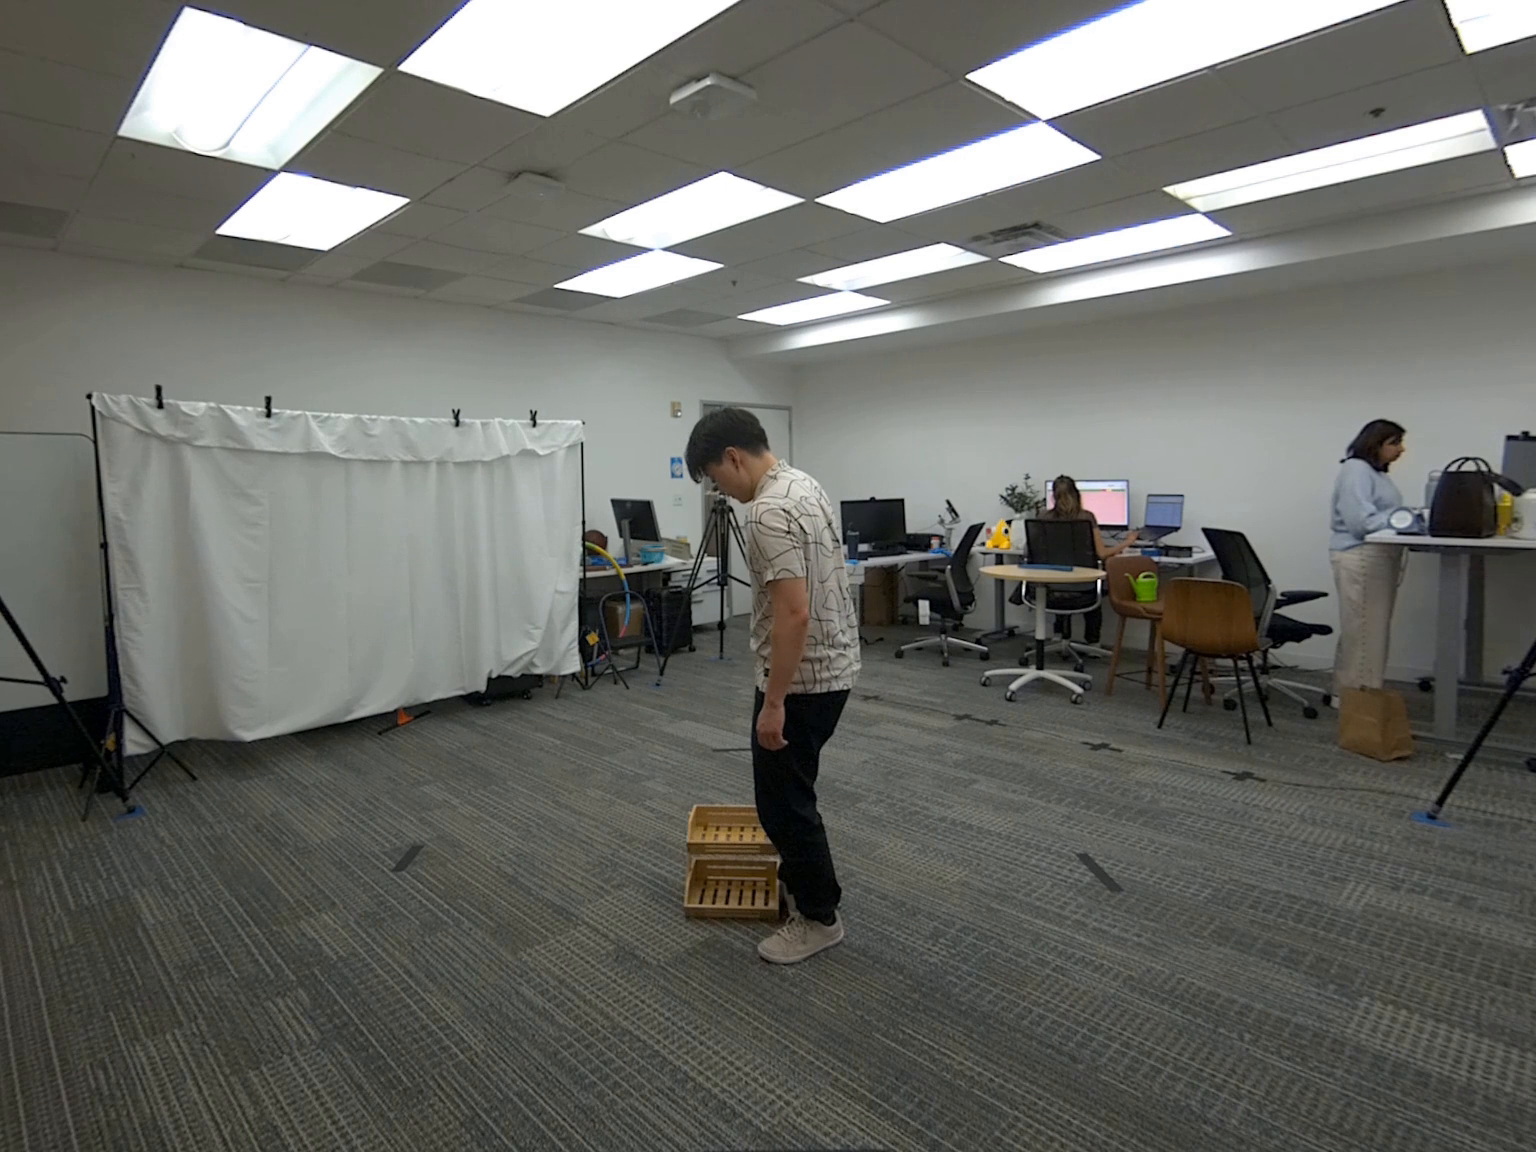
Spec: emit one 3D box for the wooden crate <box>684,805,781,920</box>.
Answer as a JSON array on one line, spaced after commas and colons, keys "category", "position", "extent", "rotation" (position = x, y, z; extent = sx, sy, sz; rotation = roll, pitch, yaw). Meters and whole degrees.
[{"category": "wooden crate", "position": [-0.106, 0.947, 2.837], "extent": [0.326, 0.272, 0.302], "rotation": [0, 5, 4]}]
